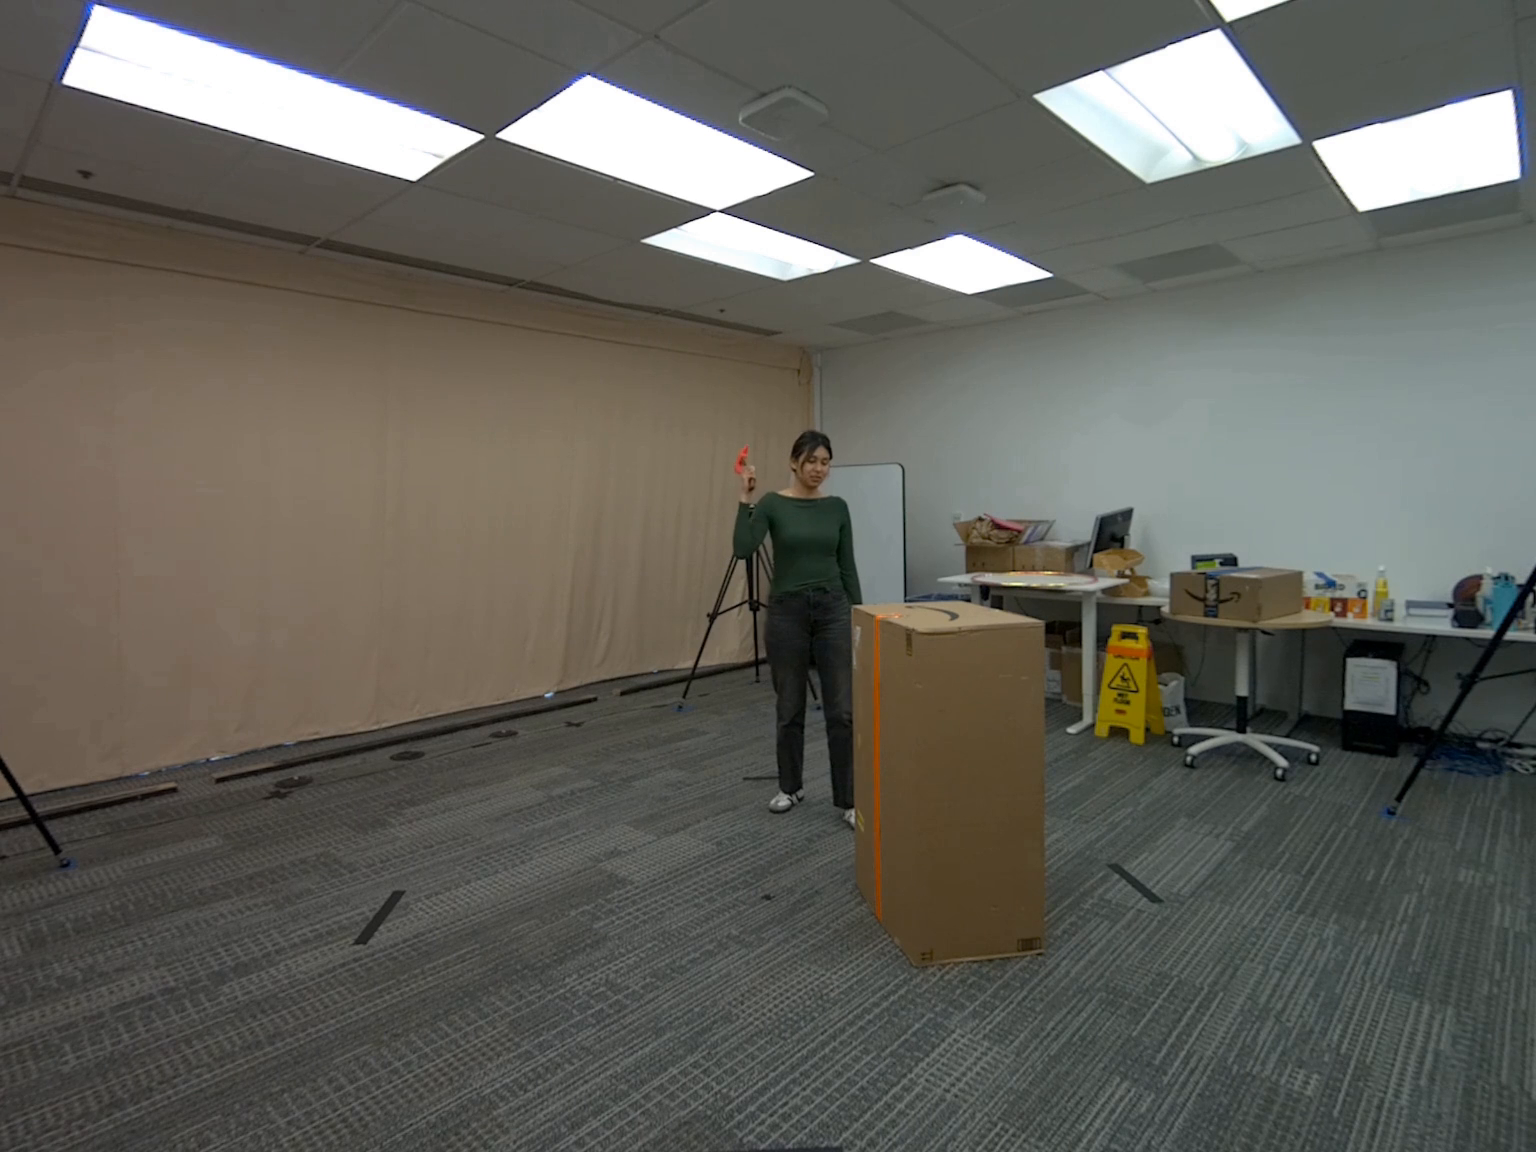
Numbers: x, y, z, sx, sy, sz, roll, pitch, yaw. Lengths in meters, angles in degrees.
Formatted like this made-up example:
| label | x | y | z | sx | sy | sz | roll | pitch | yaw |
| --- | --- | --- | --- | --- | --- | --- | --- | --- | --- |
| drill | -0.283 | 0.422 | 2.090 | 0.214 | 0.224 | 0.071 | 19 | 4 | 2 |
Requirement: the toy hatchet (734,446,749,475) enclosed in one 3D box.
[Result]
| label | x | y | z | sx | sy | sz | roll | pitch | yaw |
| --- | --- | --- | --- | --- | --- | --- | --- | --- | --- |
| toy hatchet | -0.088 | -0.445 | 3.685 | 0.029 | 0.277 | 0.132 | 14 | -46 | -30 |
